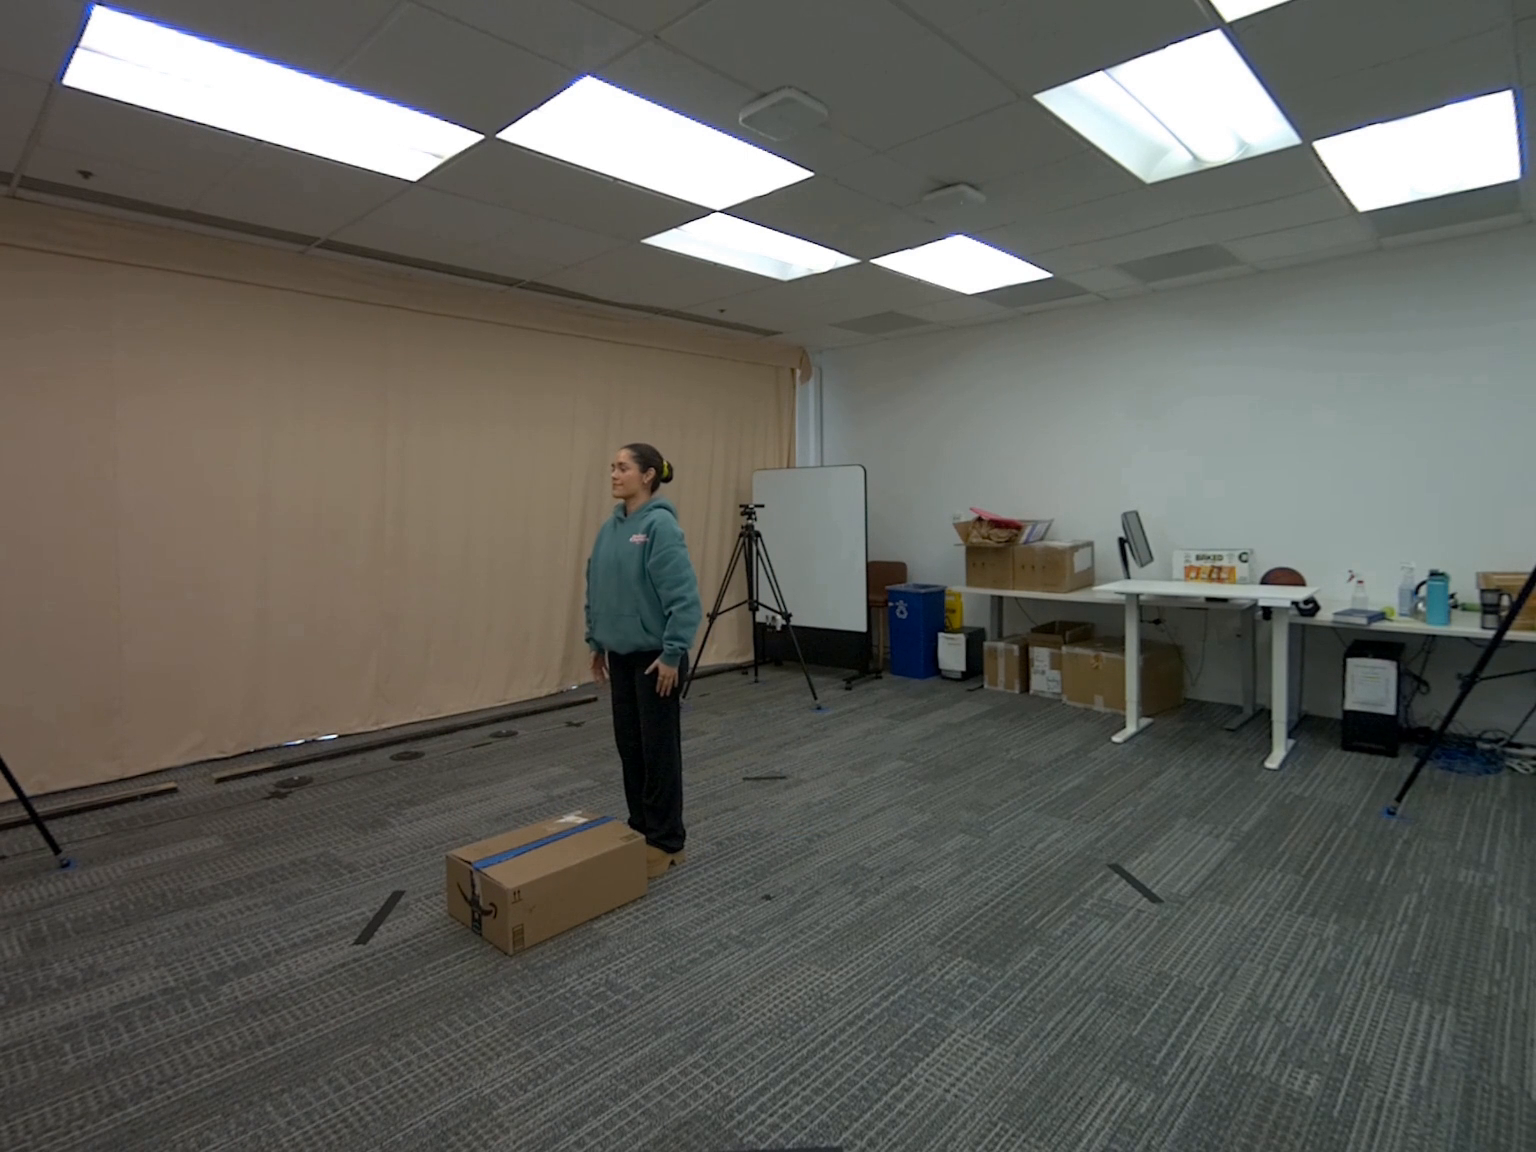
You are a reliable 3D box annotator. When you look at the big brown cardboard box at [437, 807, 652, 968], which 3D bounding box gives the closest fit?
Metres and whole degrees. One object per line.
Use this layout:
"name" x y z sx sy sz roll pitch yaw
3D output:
"big brown cardboard box" -0.776 1.055 2.962 0.431 0.232 0.571 2 7 43
